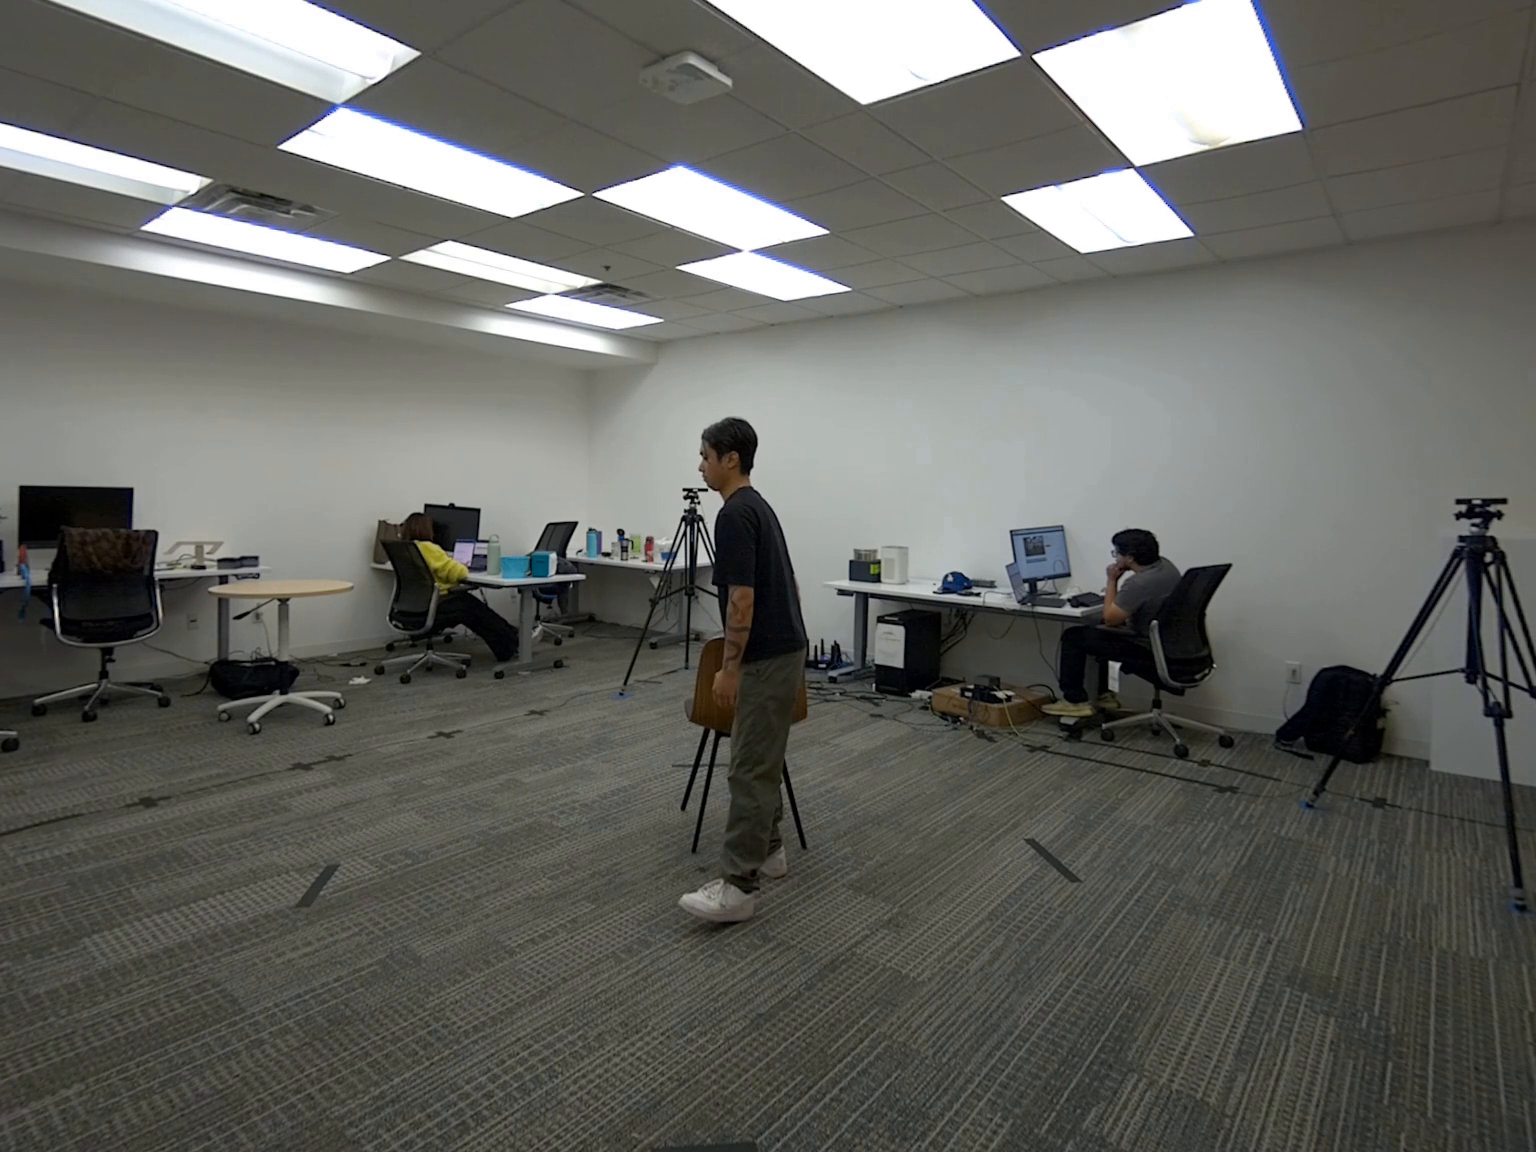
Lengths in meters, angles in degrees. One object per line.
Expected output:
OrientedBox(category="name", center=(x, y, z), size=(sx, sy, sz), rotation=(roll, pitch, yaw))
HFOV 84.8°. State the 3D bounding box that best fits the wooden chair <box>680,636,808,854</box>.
OrientedBox(category="wooden chair", center=(-0.125, 0.605, 3.474), size=(0.473, 0.871, 0.532), rotation=(0, 7, -10))
